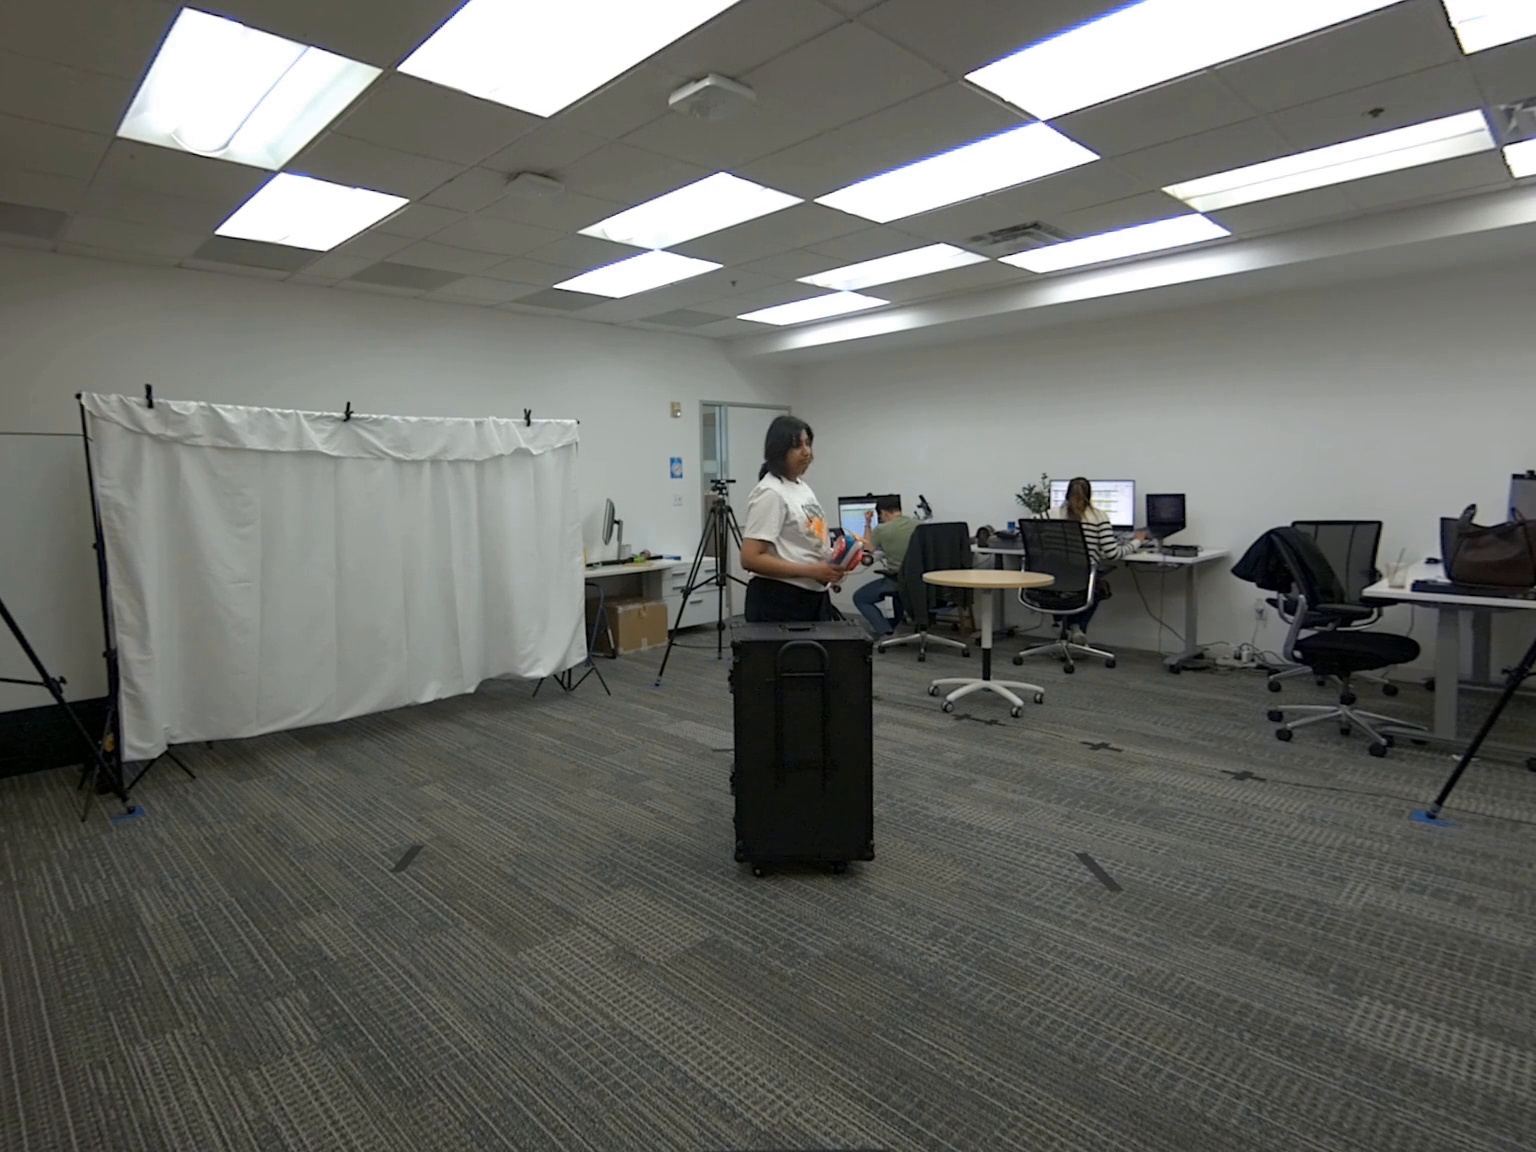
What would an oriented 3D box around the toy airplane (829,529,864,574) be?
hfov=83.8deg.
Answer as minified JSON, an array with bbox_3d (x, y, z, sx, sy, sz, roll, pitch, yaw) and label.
[{"bbox_3d":[0.313,-0.053,3.509,0.259,0.155,0.253,-46,7,-19],"label":"toy airplane"}]
